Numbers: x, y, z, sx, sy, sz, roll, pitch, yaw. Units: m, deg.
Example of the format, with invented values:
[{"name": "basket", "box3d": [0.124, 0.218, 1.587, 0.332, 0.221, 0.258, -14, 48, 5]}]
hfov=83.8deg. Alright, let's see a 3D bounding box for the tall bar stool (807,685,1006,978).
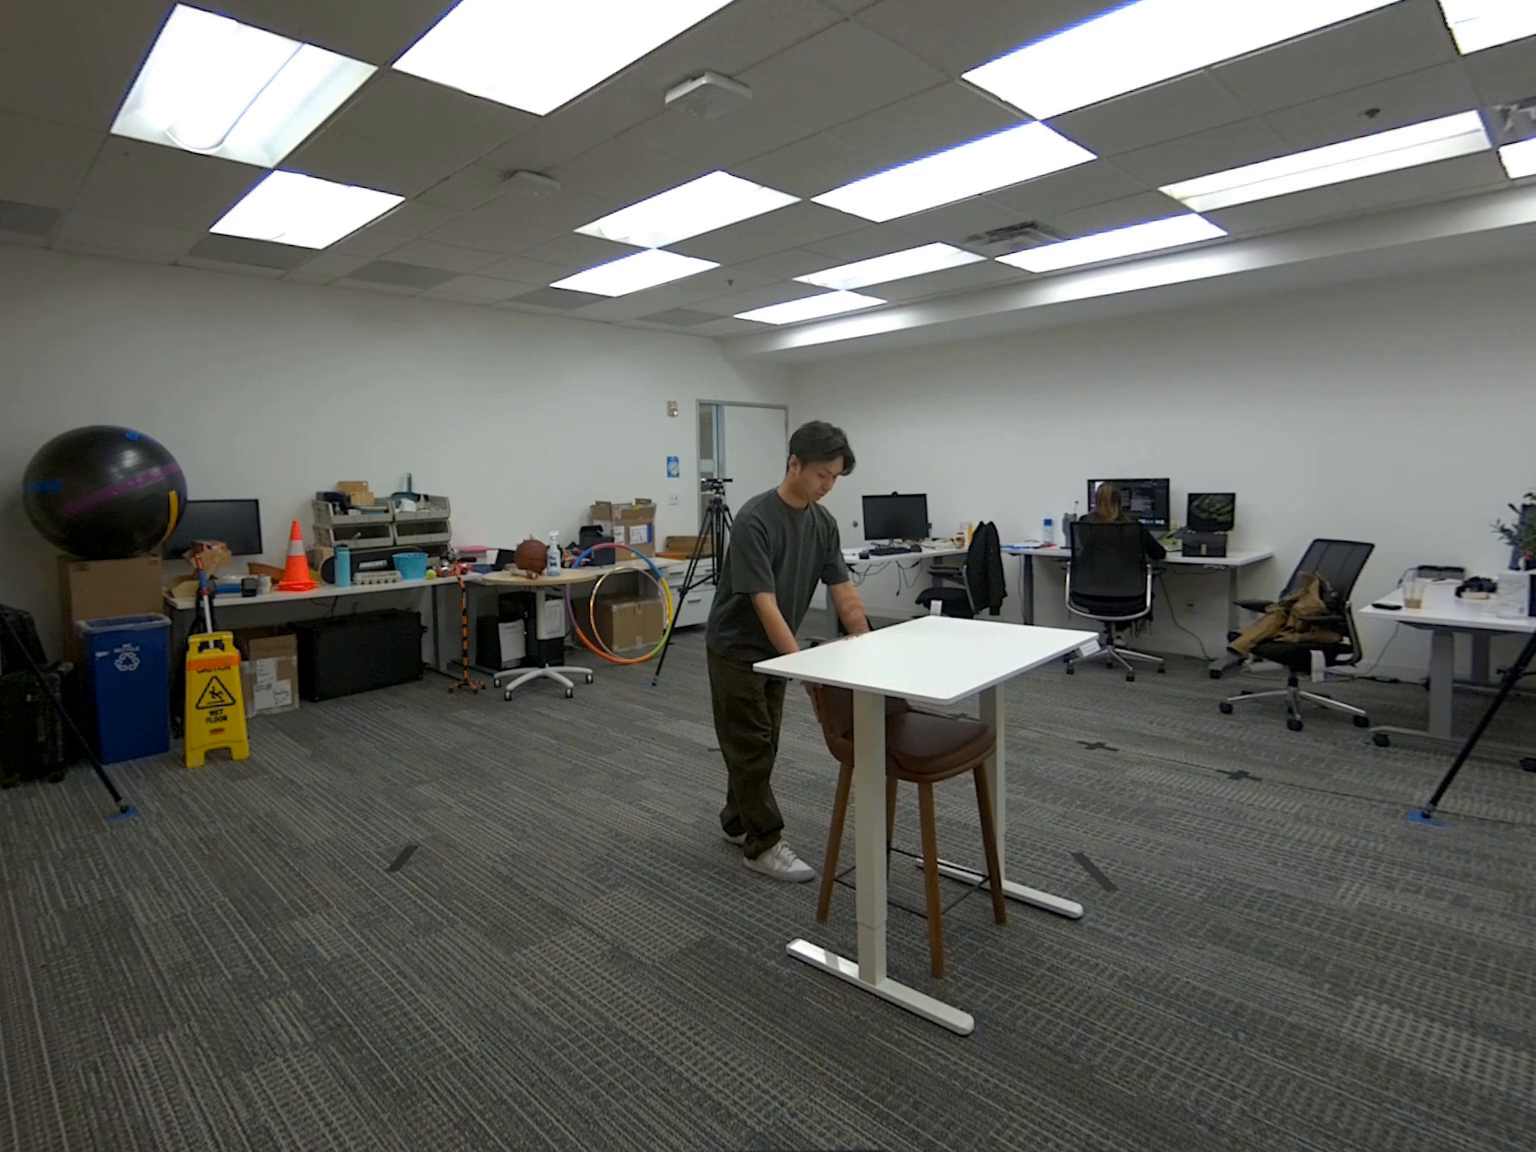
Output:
[{"name": "tall bar stool", "box3d": [0.433, 0.653, 2.653, 0.481, 0.888, 0.444, -1, 3, 43]}]
